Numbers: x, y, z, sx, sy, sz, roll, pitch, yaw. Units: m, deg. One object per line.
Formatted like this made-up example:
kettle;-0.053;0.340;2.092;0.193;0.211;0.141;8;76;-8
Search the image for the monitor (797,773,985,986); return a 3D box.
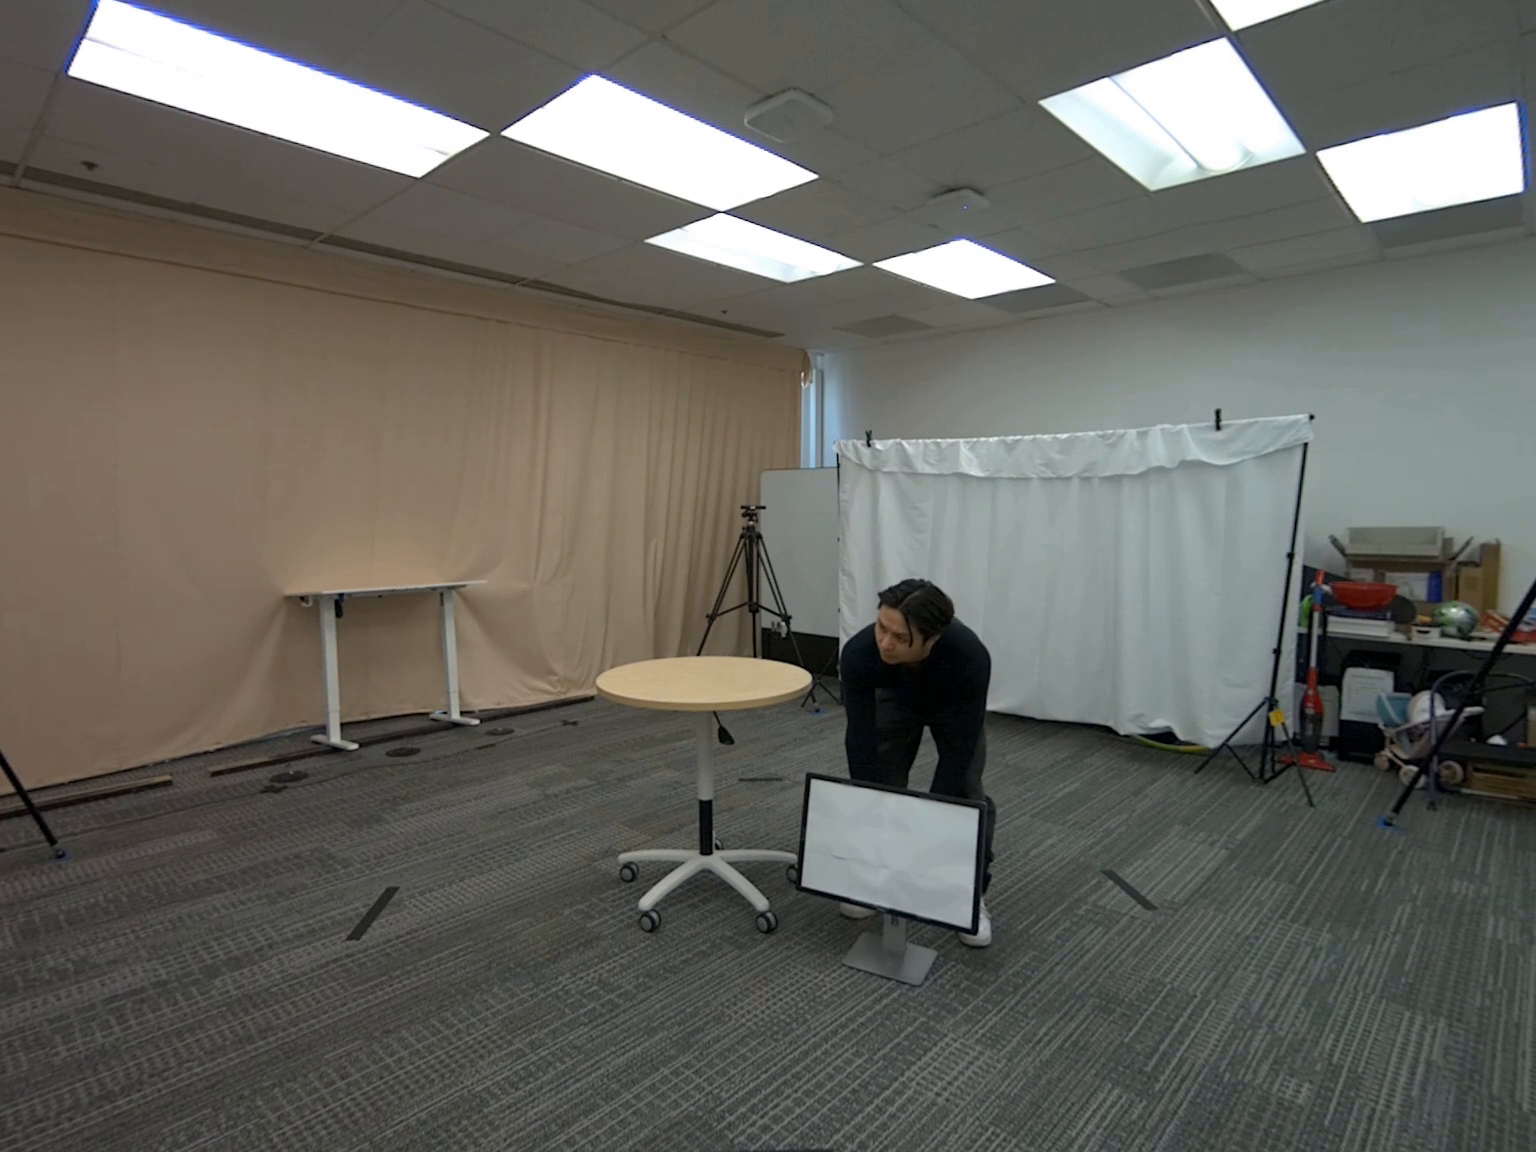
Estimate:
monitor;0.378;0.911;2.562;0.554;0.521;0.182;2;5;29
